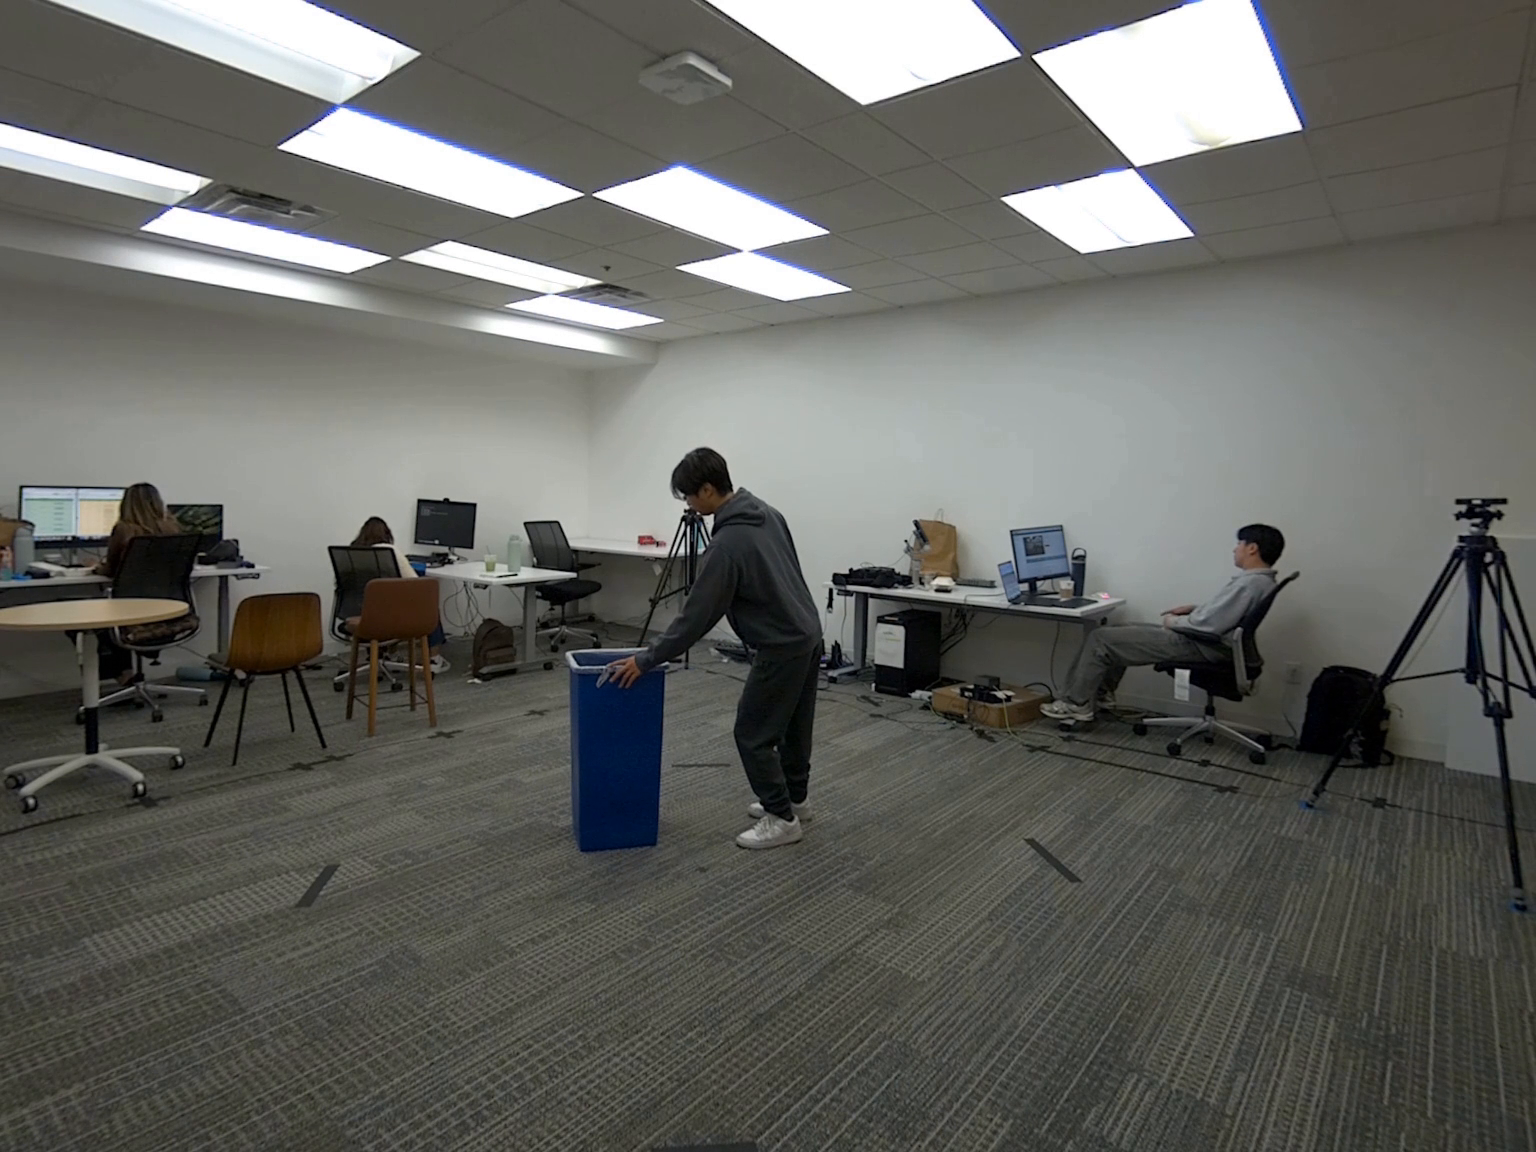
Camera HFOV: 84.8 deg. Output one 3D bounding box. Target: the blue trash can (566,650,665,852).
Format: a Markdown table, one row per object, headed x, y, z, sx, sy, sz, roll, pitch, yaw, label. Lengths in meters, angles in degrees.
| x | y | z | sx | sy | sz | roll | pitch | yaw | label |
| --- | --- | --- | --- | --- | --- | --- | --- | --- | --- |
| -0.632 | 0.682 | 3.409 | 0.372 | 0.711 | 0.381 | 0 | 3 | -17 | blue trash can |
